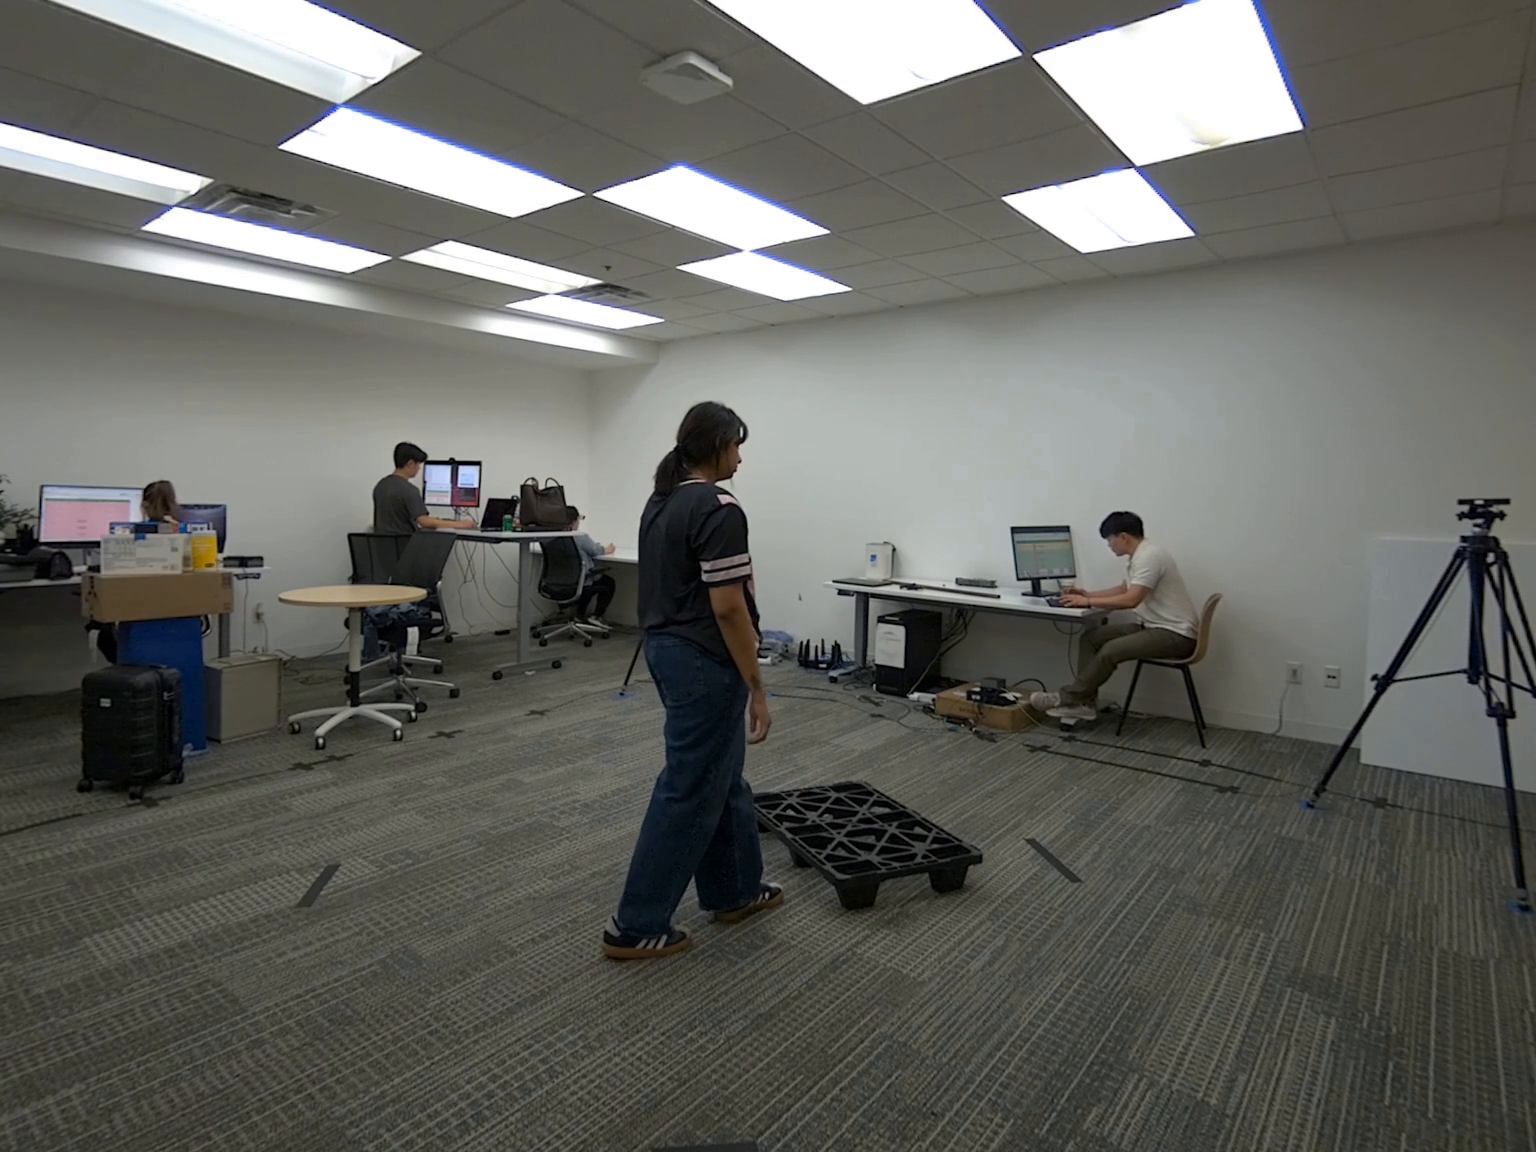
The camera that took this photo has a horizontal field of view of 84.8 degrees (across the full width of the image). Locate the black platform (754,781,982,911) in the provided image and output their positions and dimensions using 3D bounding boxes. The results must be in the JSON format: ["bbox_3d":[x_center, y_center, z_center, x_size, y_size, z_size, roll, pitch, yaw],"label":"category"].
[{"bbox_3d":[0.312,0.997,3.247,0.591,0.143,0.828,-1,6,-25],"label":"black platform"}]
